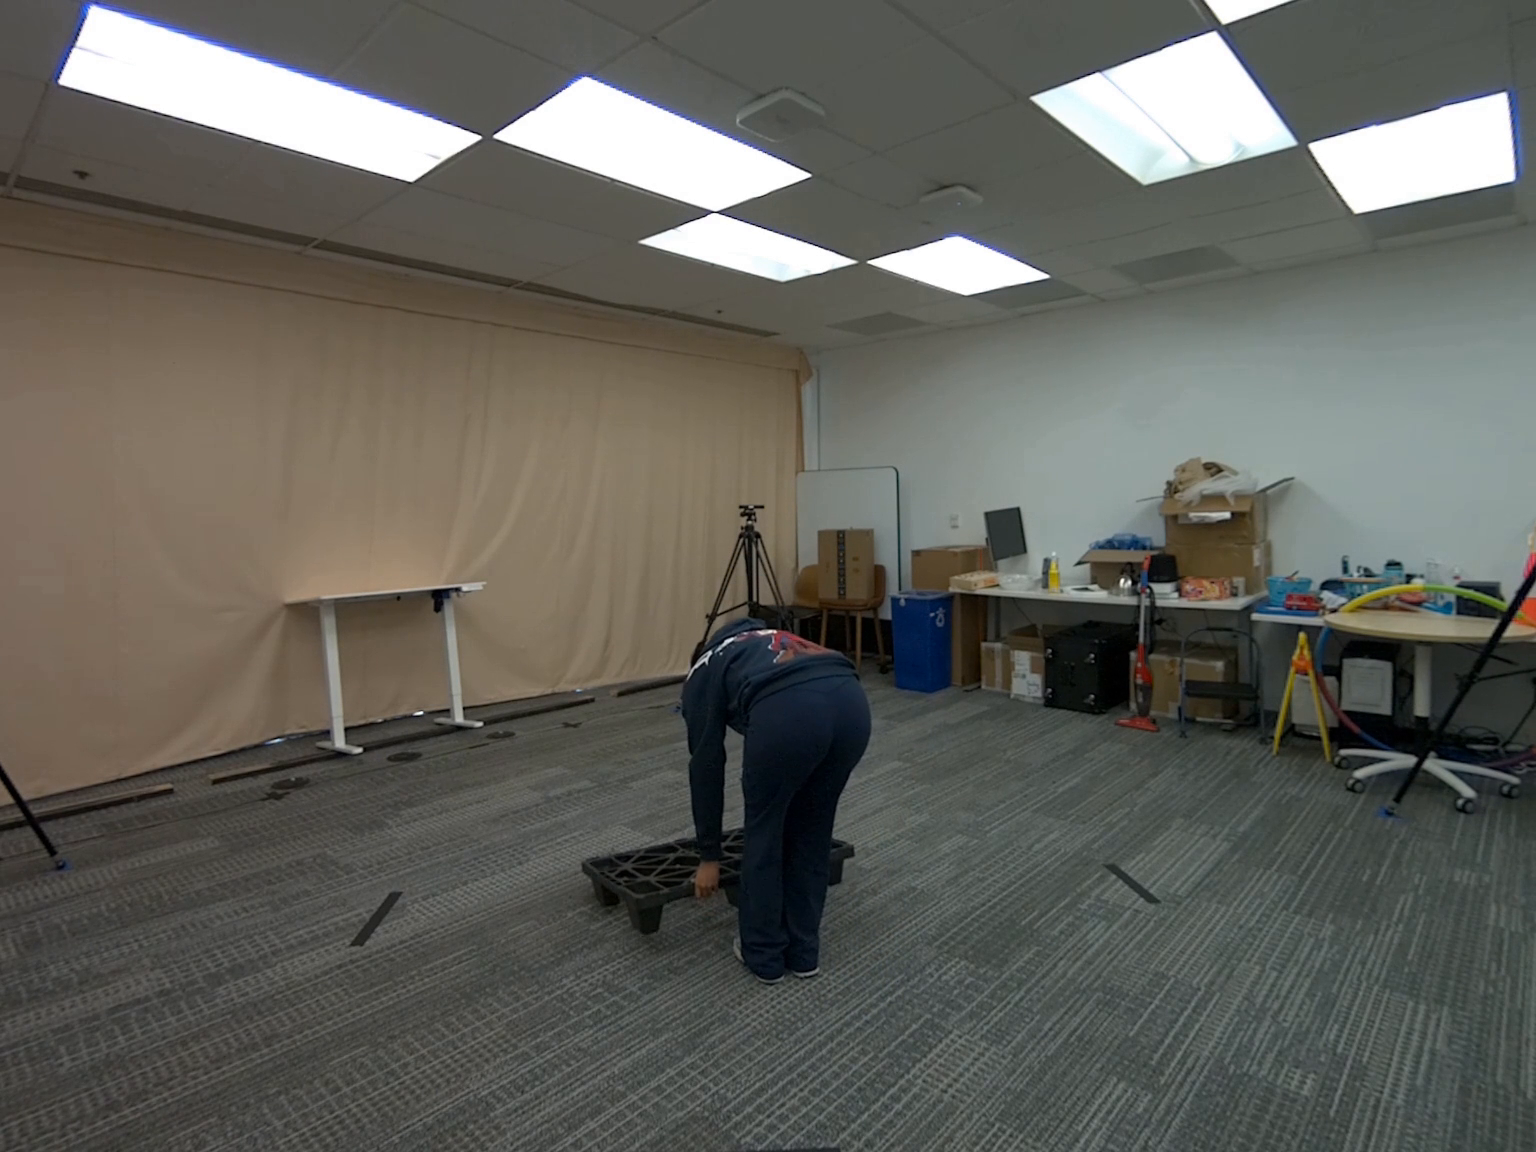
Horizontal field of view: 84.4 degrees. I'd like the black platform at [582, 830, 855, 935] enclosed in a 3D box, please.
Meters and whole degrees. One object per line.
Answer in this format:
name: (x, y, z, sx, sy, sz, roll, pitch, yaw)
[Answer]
black platform: (-0.185, 1.044, 2.955, 0.786, 0.144, 0.618, -3, -5, -27)
